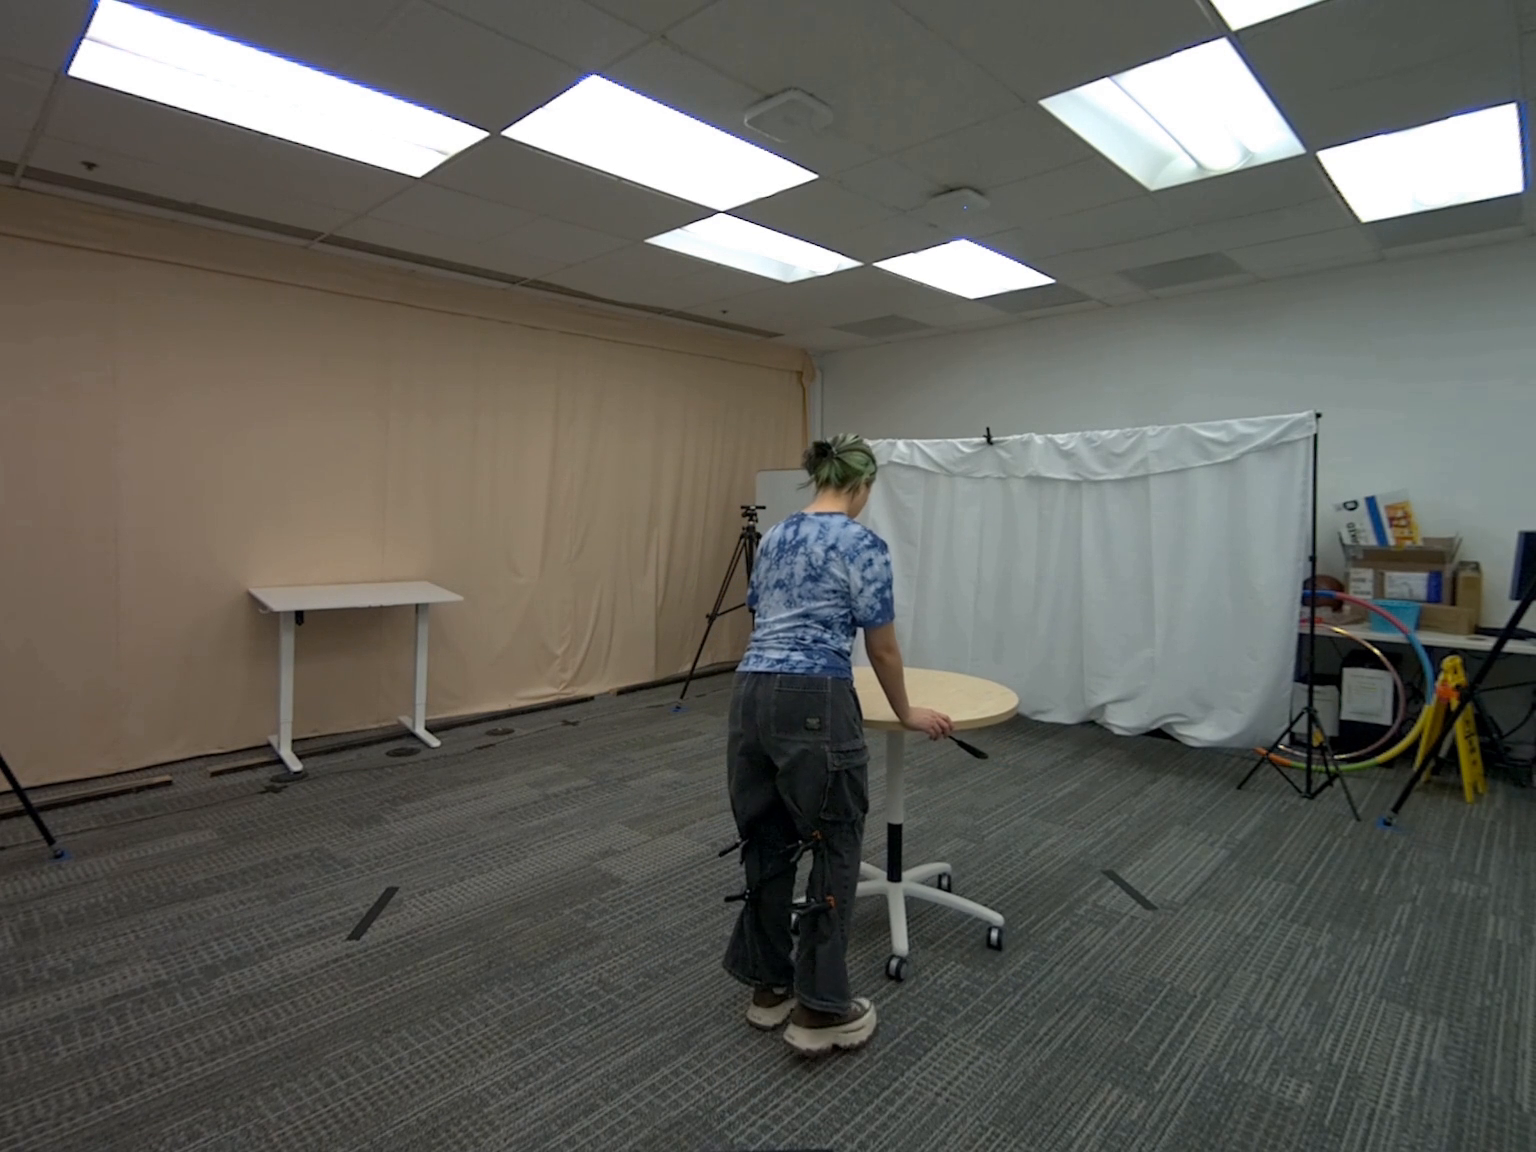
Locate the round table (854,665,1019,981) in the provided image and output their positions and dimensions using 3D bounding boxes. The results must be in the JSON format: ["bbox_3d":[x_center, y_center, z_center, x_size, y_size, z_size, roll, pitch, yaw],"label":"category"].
[{"bbox_3d":[0.434,0.771,2.798,0.763,0.792,0.767,0,4,-2],"label":"round table"}]
